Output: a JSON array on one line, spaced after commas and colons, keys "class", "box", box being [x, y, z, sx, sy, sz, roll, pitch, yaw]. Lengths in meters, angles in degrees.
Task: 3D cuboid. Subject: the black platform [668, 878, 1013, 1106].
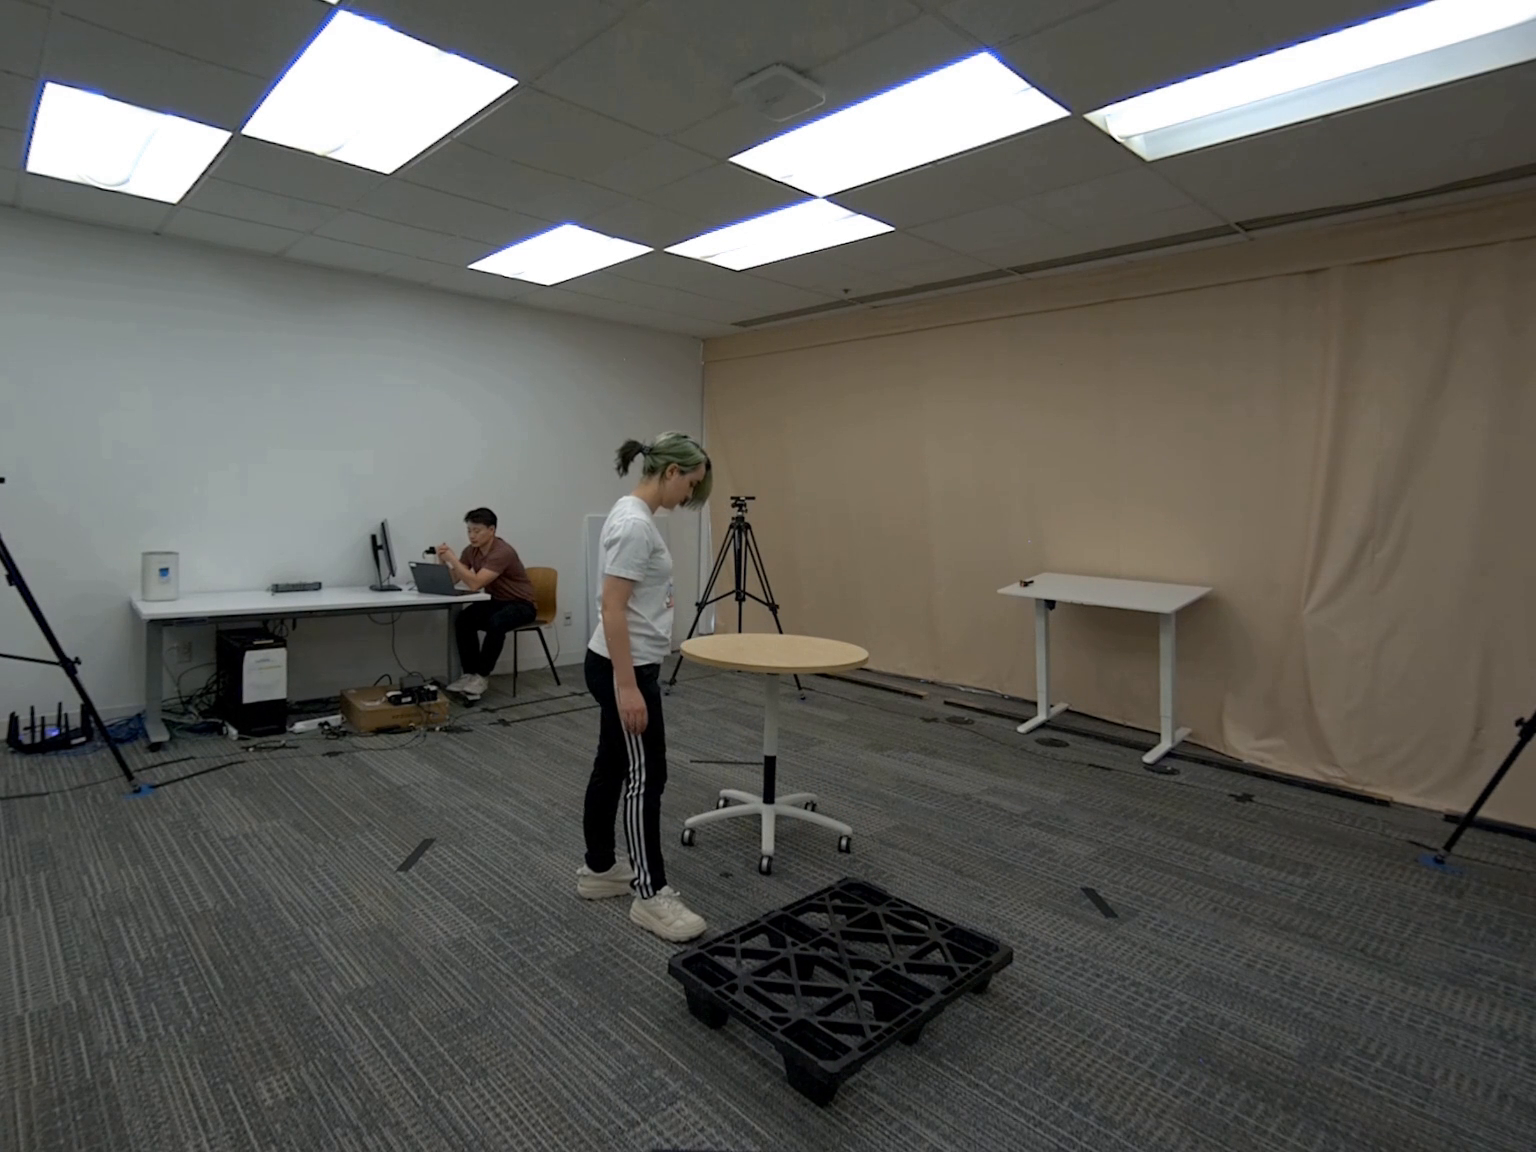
[{"class": "black platform", "box": [0.208, 1.119, 2.342, 0.787, 0.143, 0.621, -4, 8, -44]}]
